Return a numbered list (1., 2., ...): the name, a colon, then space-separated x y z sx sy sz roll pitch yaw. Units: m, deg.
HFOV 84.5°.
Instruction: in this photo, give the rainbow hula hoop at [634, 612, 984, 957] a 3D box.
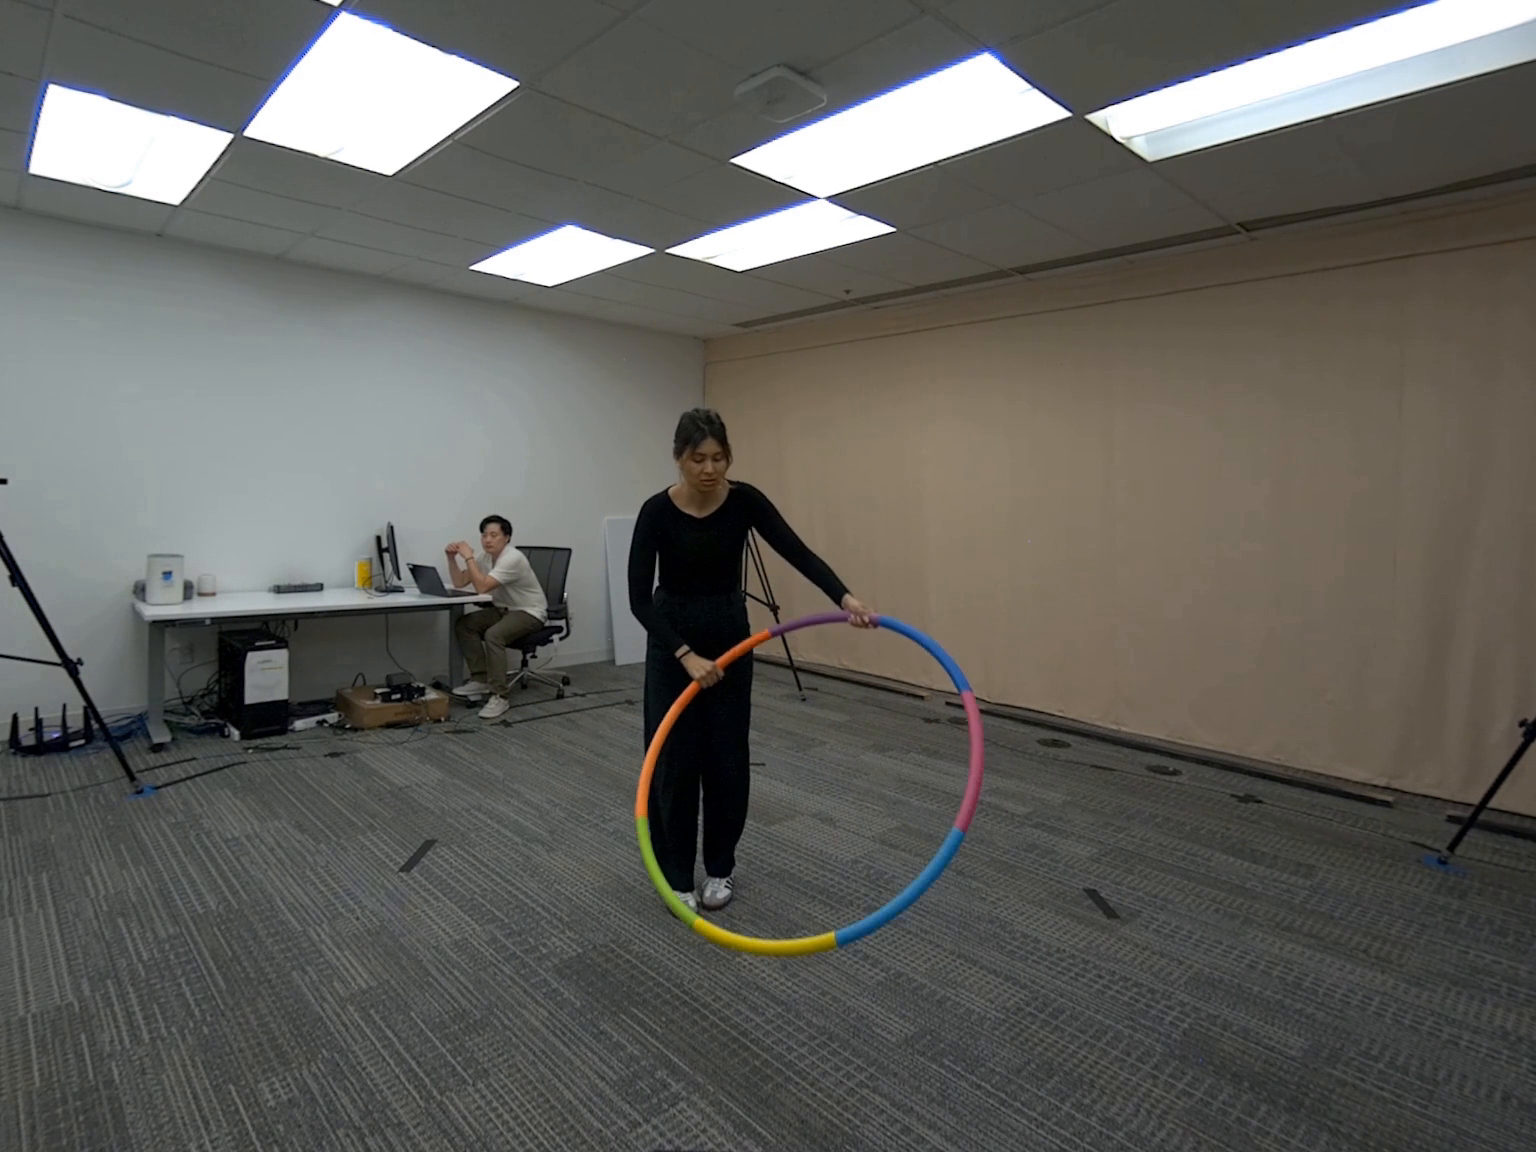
1. rainbow hula hoop: 0.069 0.506 2.250 1.009 0.992 0.050 5 -36 37
